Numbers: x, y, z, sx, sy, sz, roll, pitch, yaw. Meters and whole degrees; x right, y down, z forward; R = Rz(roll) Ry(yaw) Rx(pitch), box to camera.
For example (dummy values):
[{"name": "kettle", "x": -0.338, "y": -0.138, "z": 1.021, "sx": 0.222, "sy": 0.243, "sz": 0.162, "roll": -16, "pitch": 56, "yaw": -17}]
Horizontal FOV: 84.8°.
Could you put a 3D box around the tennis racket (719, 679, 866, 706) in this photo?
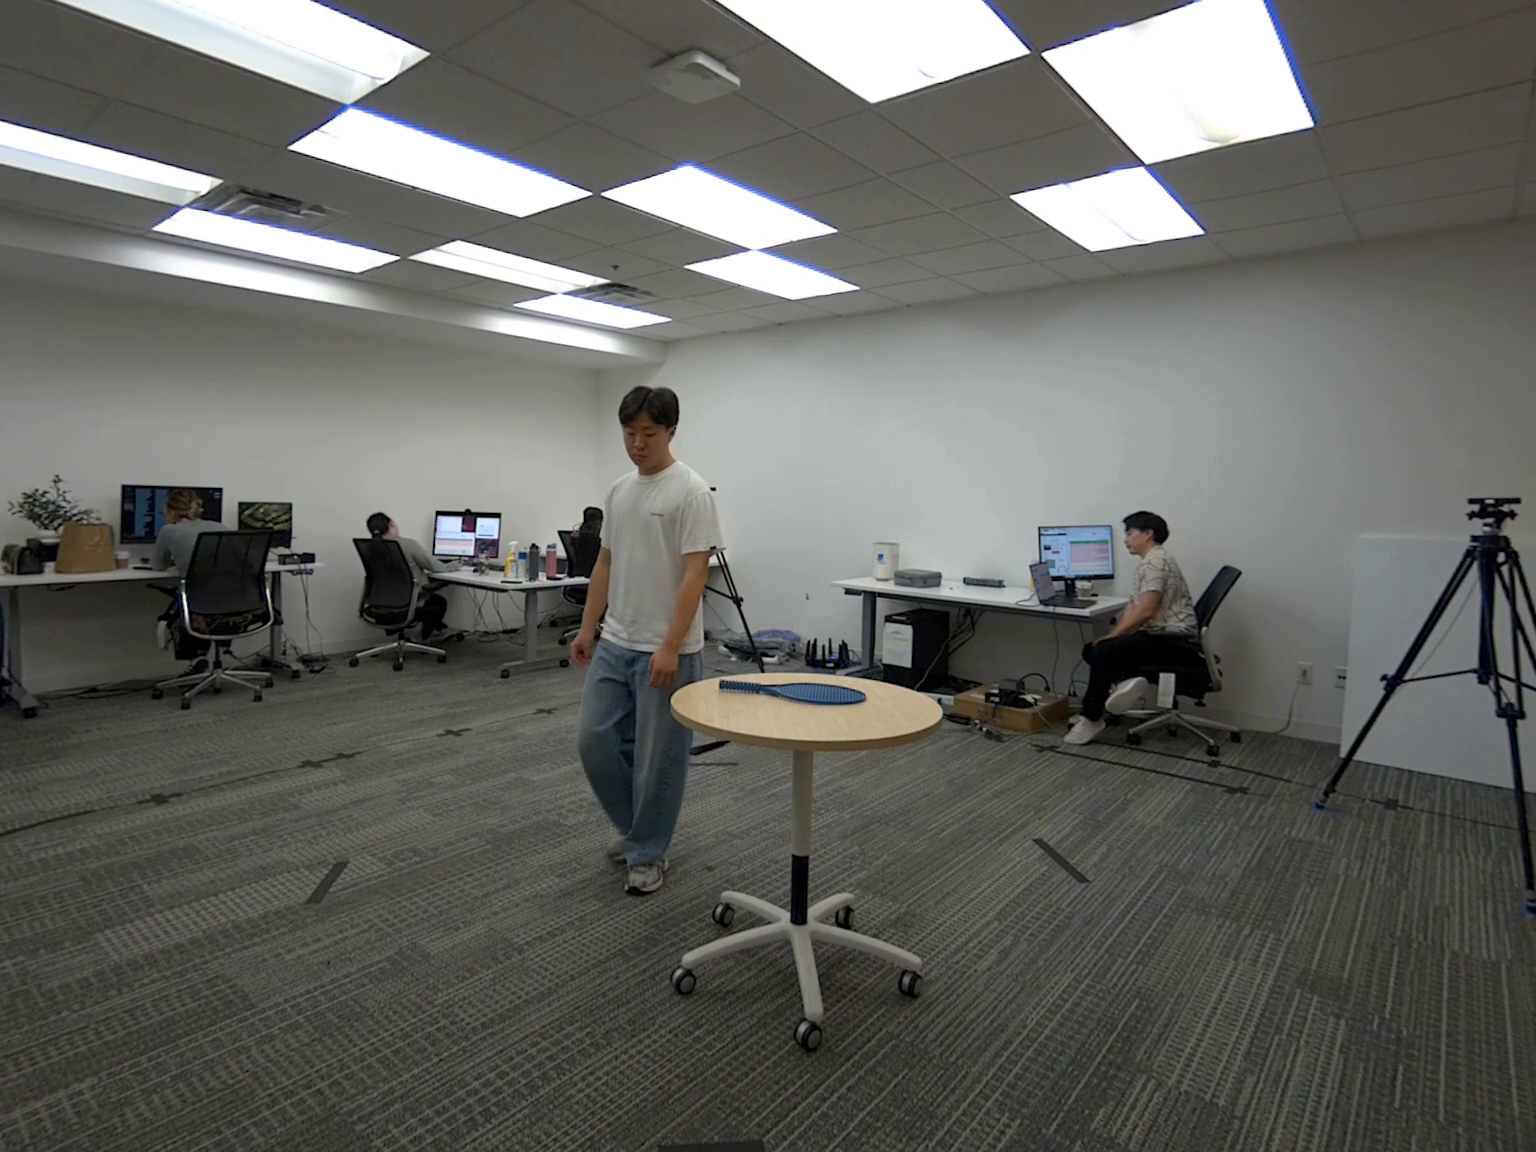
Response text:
[{"name": "tennis racket", "x": 0.071, "y": 0.337, "z": 2.514, "sx": 0.437, "sy": 0.031, "sz": 0.212, "roll": 4, "pitch": 6, "yaw": 9}]
